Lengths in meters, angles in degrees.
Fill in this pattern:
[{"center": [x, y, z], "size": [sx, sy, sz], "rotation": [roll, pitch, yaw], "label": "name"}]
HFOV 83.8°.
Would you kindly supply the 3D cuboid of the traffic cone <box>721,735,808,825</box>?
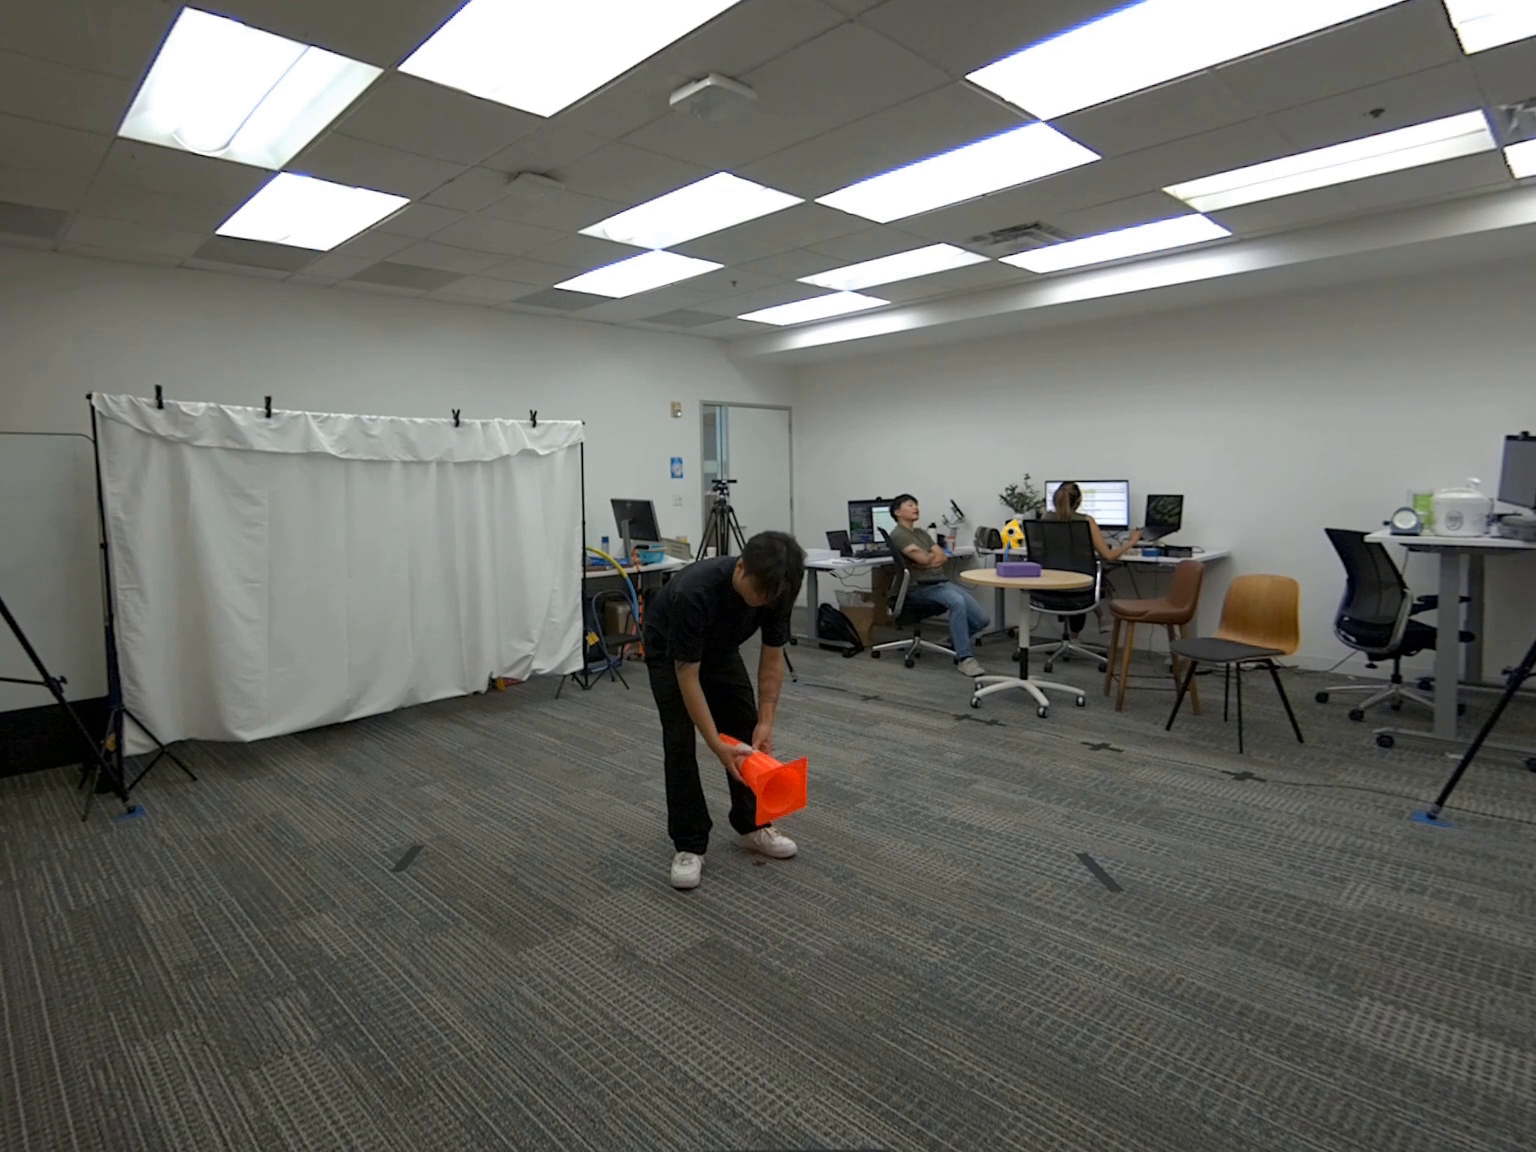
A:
[{"center": [-0.058, 0.640, 2.917], "size": [0.201, 0.200, 0.398], "rotation": [-14, 24, -31], "label": "traffic cone"}]
